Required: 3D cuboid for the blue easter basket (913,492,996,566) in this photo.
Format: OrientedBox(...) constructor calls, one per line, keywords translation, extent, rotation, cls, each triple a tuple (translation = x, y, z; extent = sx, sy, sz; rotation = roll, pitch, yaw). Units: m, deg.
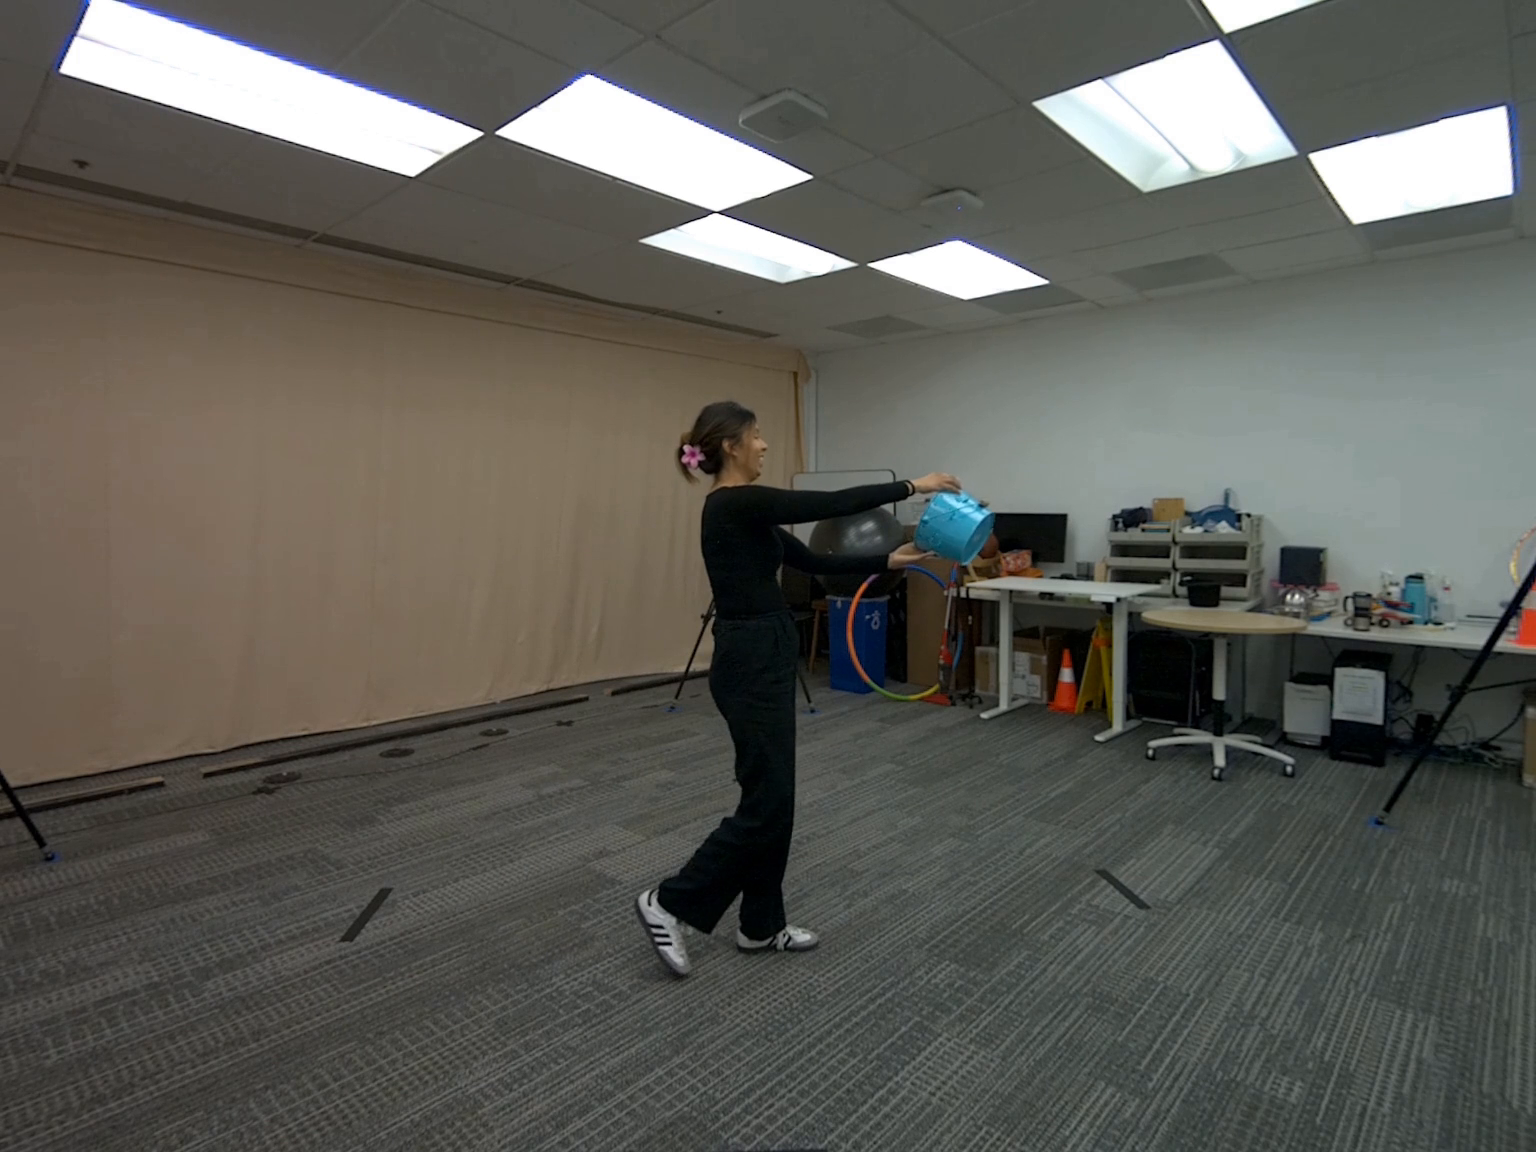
OrientedBox(translation=(0.582, -0.149, 2.555), extent=(0.161, 0.243, 0.236), rotation=(33, 21, 28), cls="blue easter basket")
